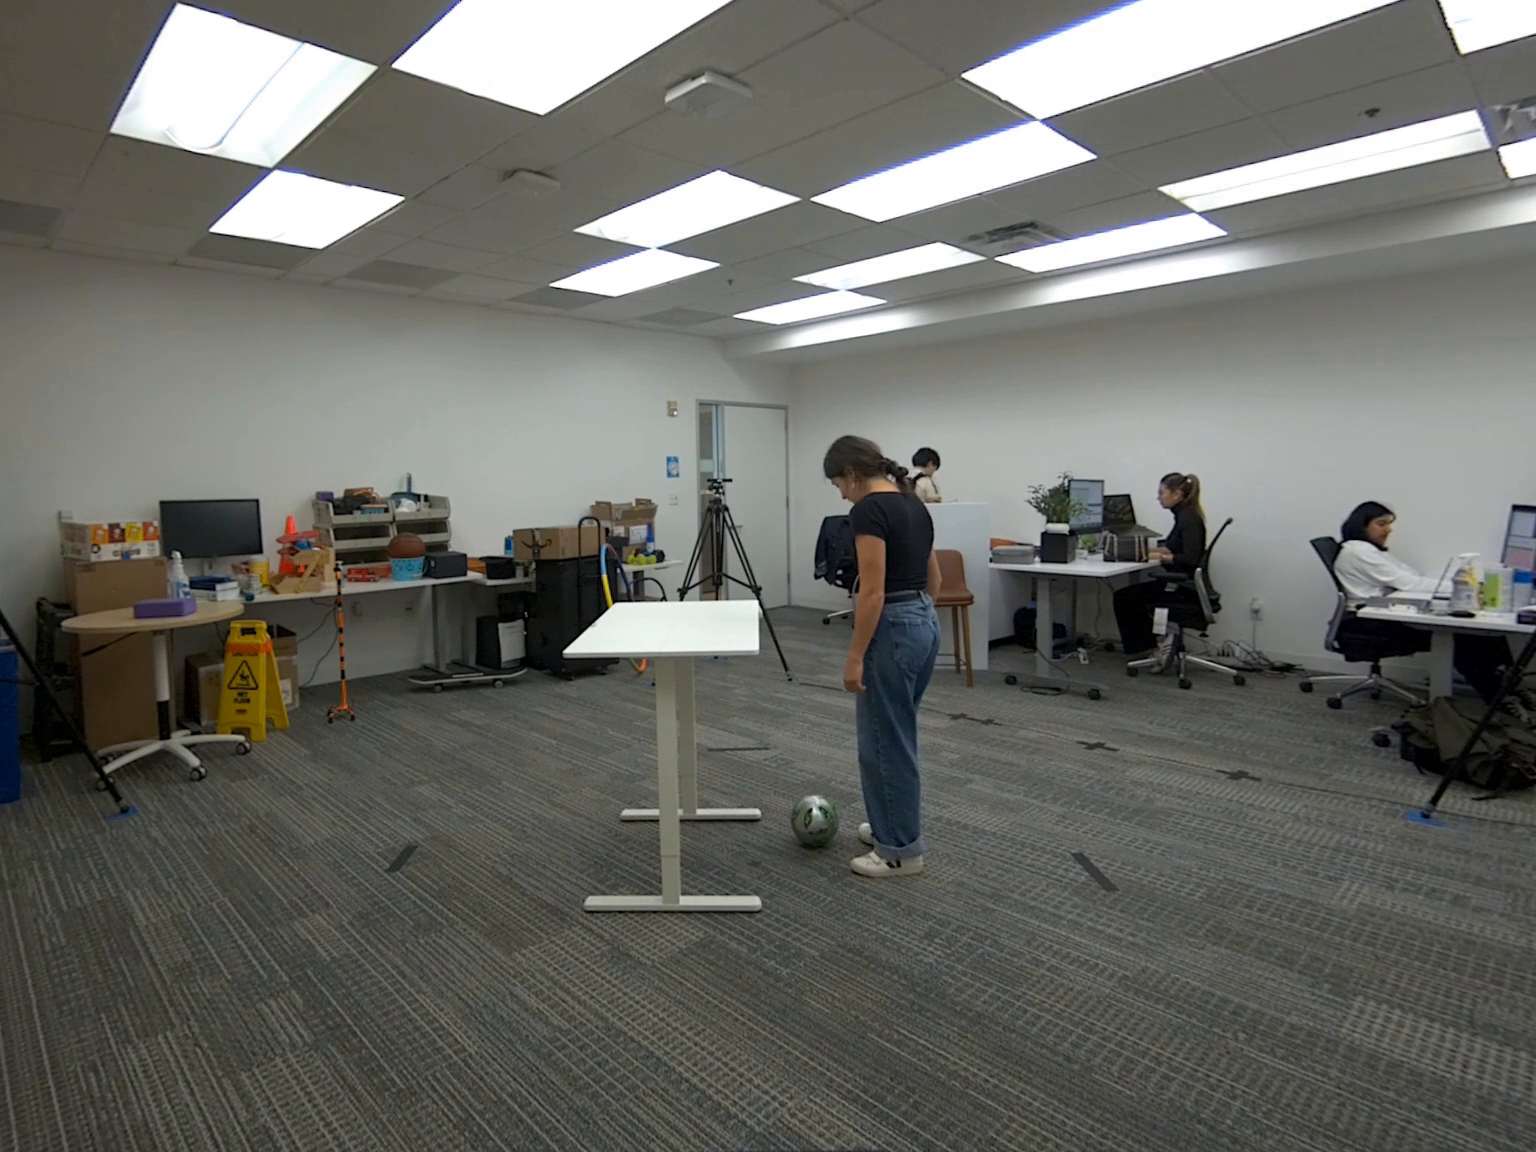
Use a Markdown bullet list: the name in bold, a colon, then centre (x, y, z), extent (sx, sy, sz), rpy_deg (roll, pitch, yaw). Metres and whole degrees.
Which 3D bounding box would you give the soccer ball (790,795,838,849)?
- **soccer ball**: centre (0.178, 0.933, 3.273), extent (0.187, 0.187, 0.188), rpy_deg (-1, 5, -2)
